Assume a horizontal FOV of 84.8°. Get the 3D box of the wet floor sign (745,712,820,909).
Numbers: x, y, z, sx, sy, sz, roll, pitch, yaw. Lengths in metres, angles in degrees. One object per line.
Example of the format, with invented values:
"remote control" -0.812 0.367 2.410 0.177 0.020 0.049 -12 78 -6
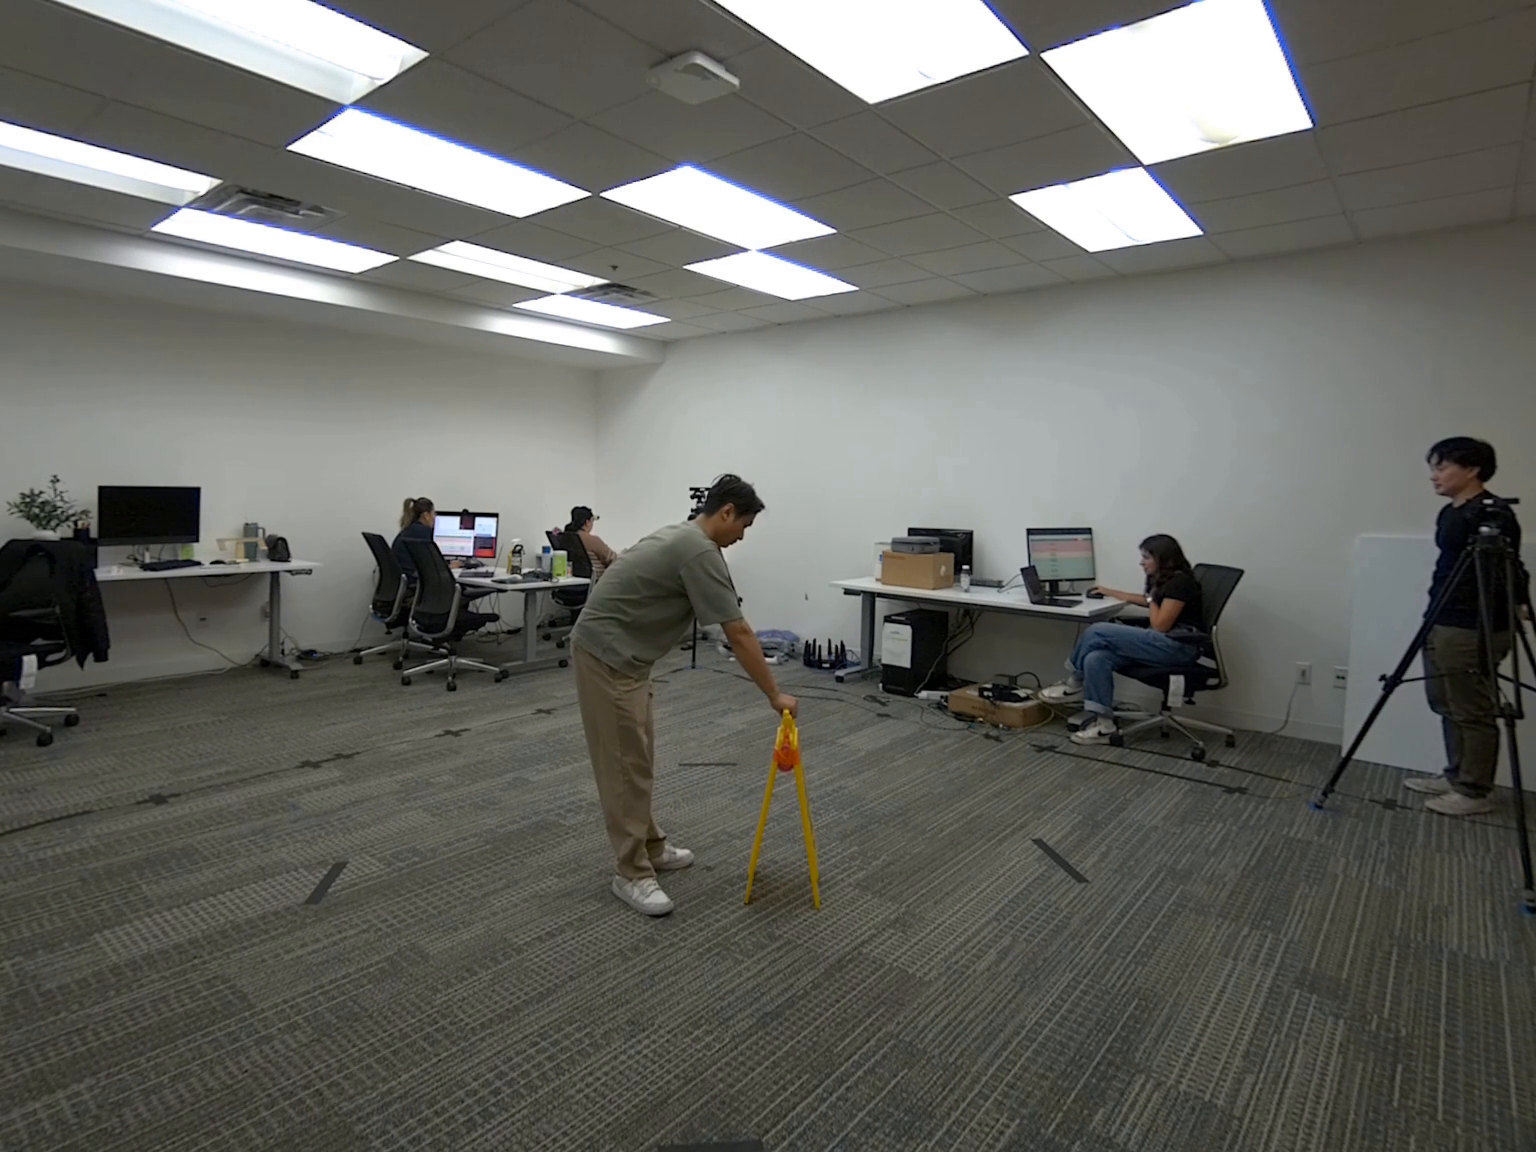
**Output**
"wet floor sign" 0.058 0.767 2.952 0.291 0.643 0.282 3 4 4
